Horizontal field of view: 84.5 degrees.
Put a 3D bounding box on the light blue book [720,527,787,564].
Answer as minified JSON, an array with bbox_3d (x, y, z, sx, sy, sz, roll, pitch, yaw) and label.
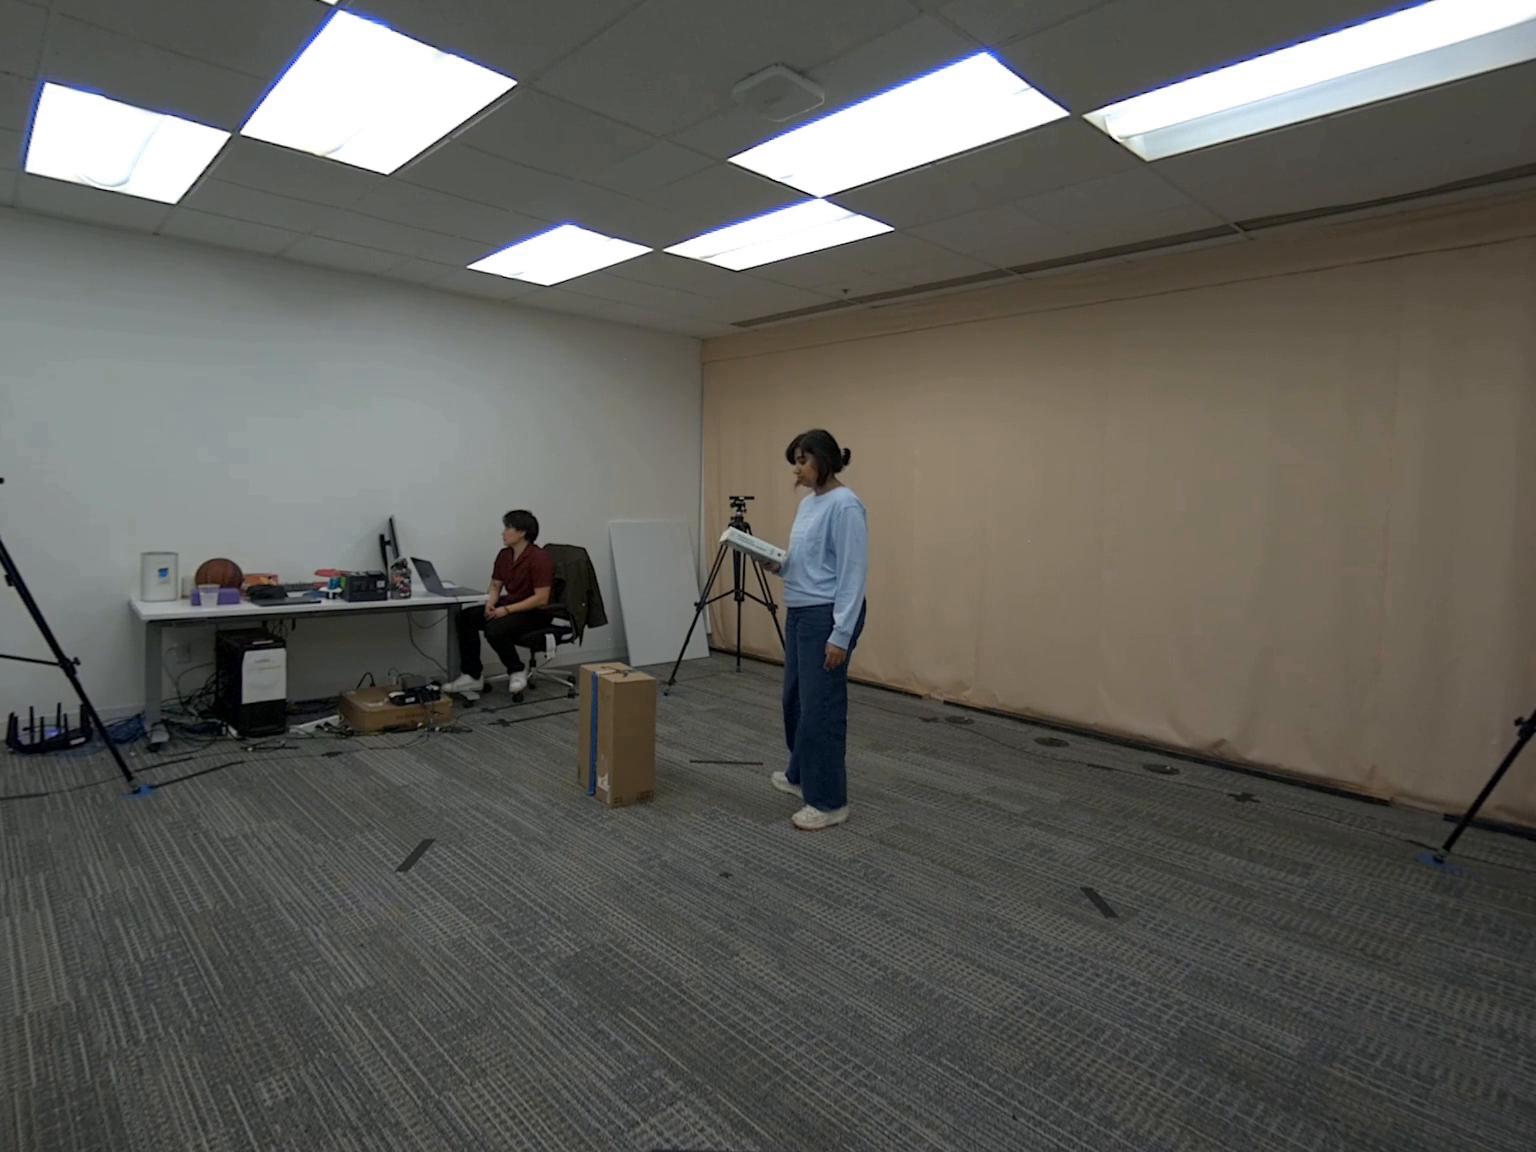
[{"bbox_3d":[-0.071,-0.128,3.653,0.258,0.059,0.193,23,-7,-10],"label":"light blue book"}]
